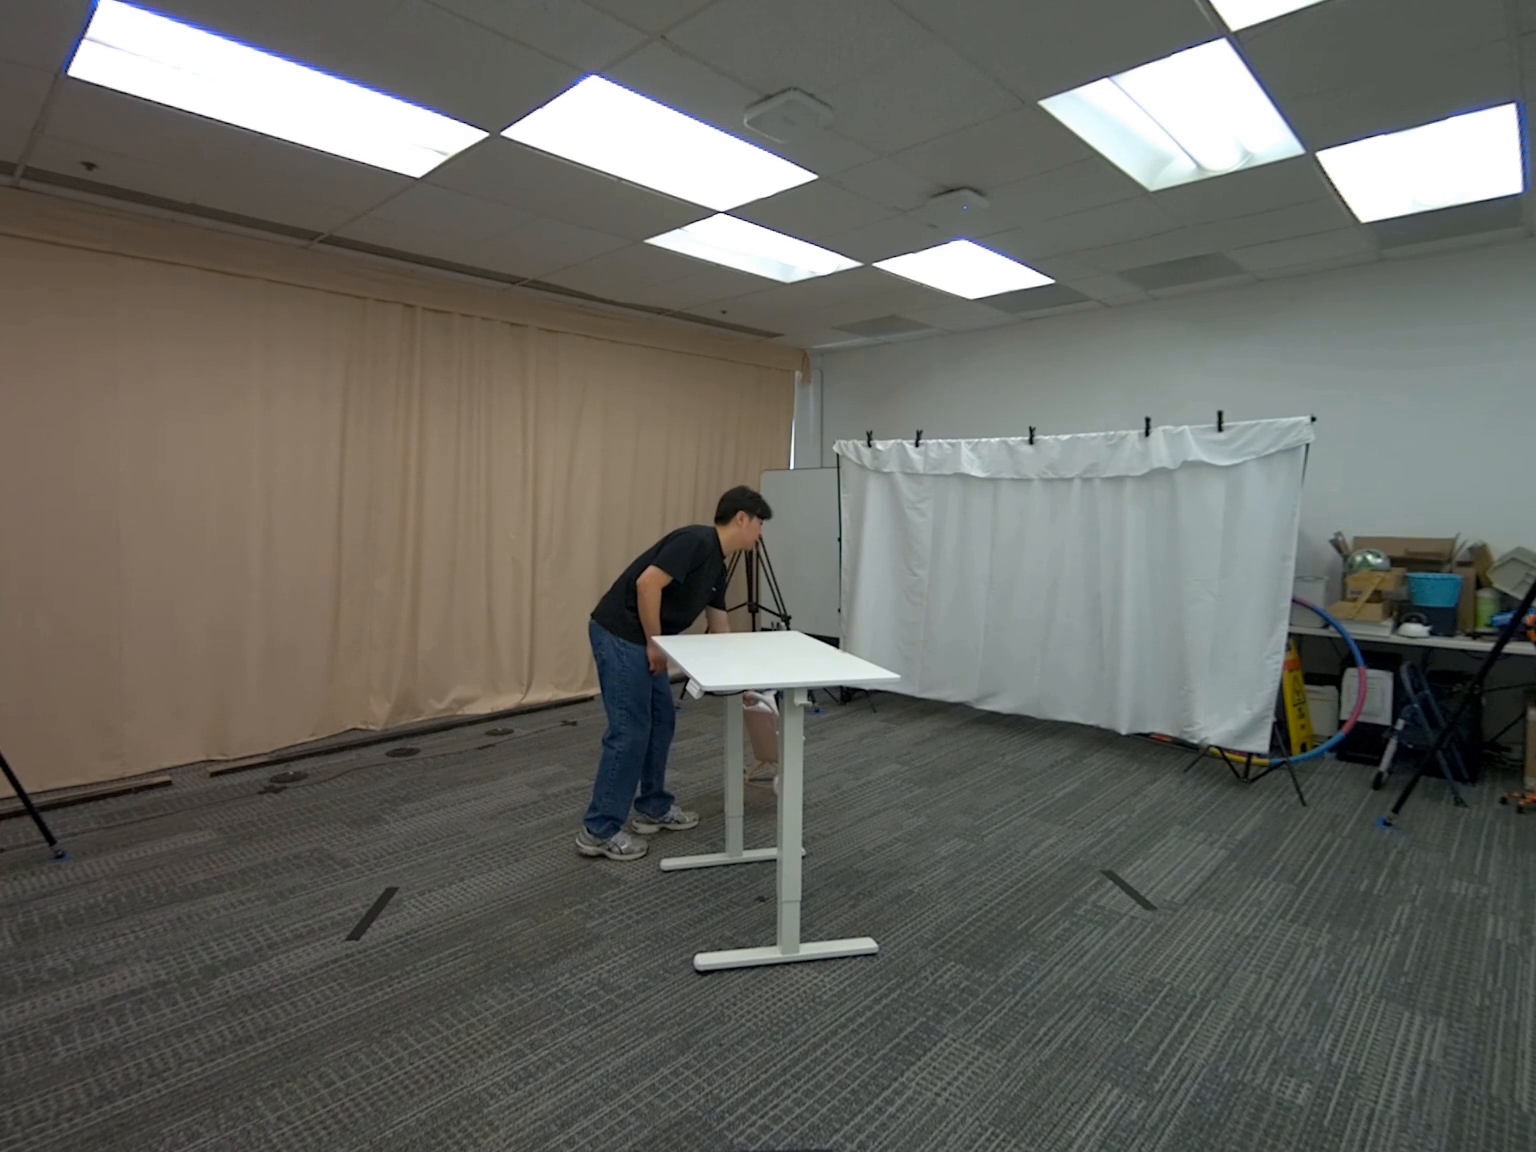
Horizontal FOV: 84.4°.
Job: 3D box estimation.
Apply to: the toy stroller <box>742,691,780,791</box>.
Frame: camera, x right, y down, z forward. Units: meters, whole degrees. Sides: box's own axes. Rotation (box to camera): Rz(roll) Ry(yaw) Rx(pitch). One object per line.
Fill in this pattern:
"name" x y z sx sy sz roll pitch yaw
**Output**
"toy stroller" 0.022 0.777 3.955 0.290 0.533 0.332 -2 5 42
